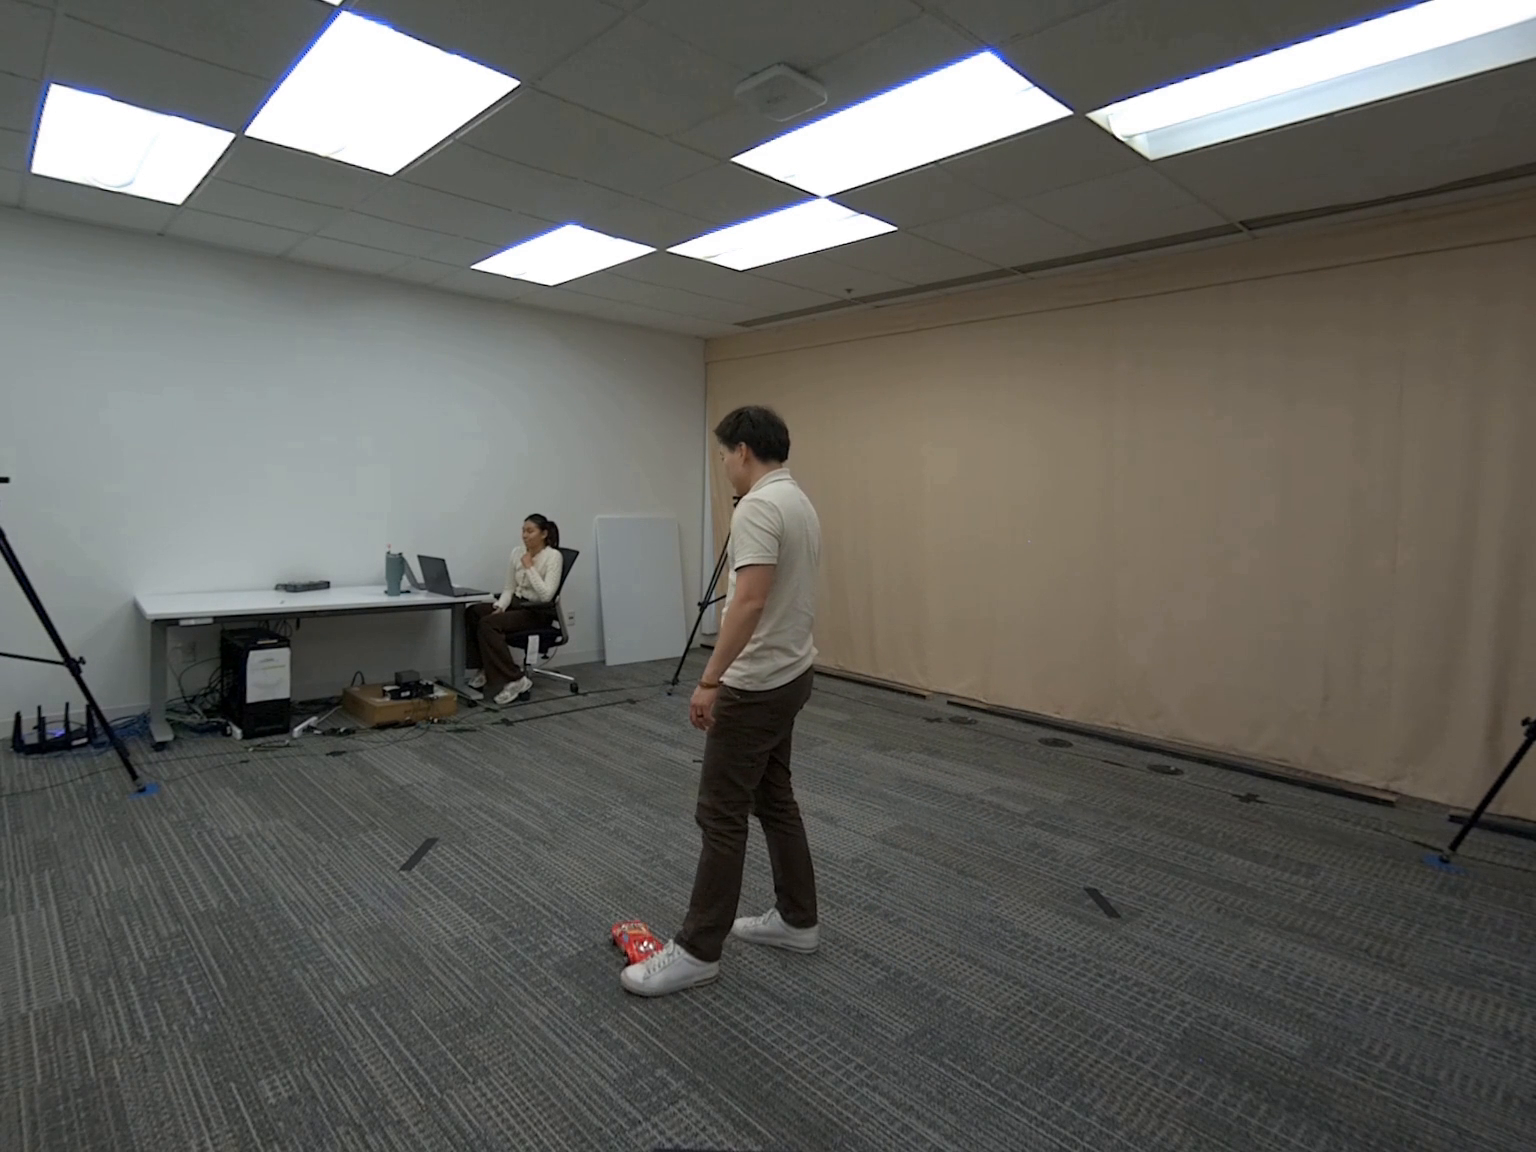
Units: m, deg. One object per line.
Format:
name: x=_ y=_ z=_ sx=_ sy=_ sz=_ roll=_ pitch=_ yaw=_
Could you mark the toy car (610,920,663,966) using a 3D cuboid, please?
toy car: x=-0.392 y=1.119 z=2.530 sx=0.128 sy=0.083 sz=0.258 roll=-3 pitch=-4 yaw=-27
